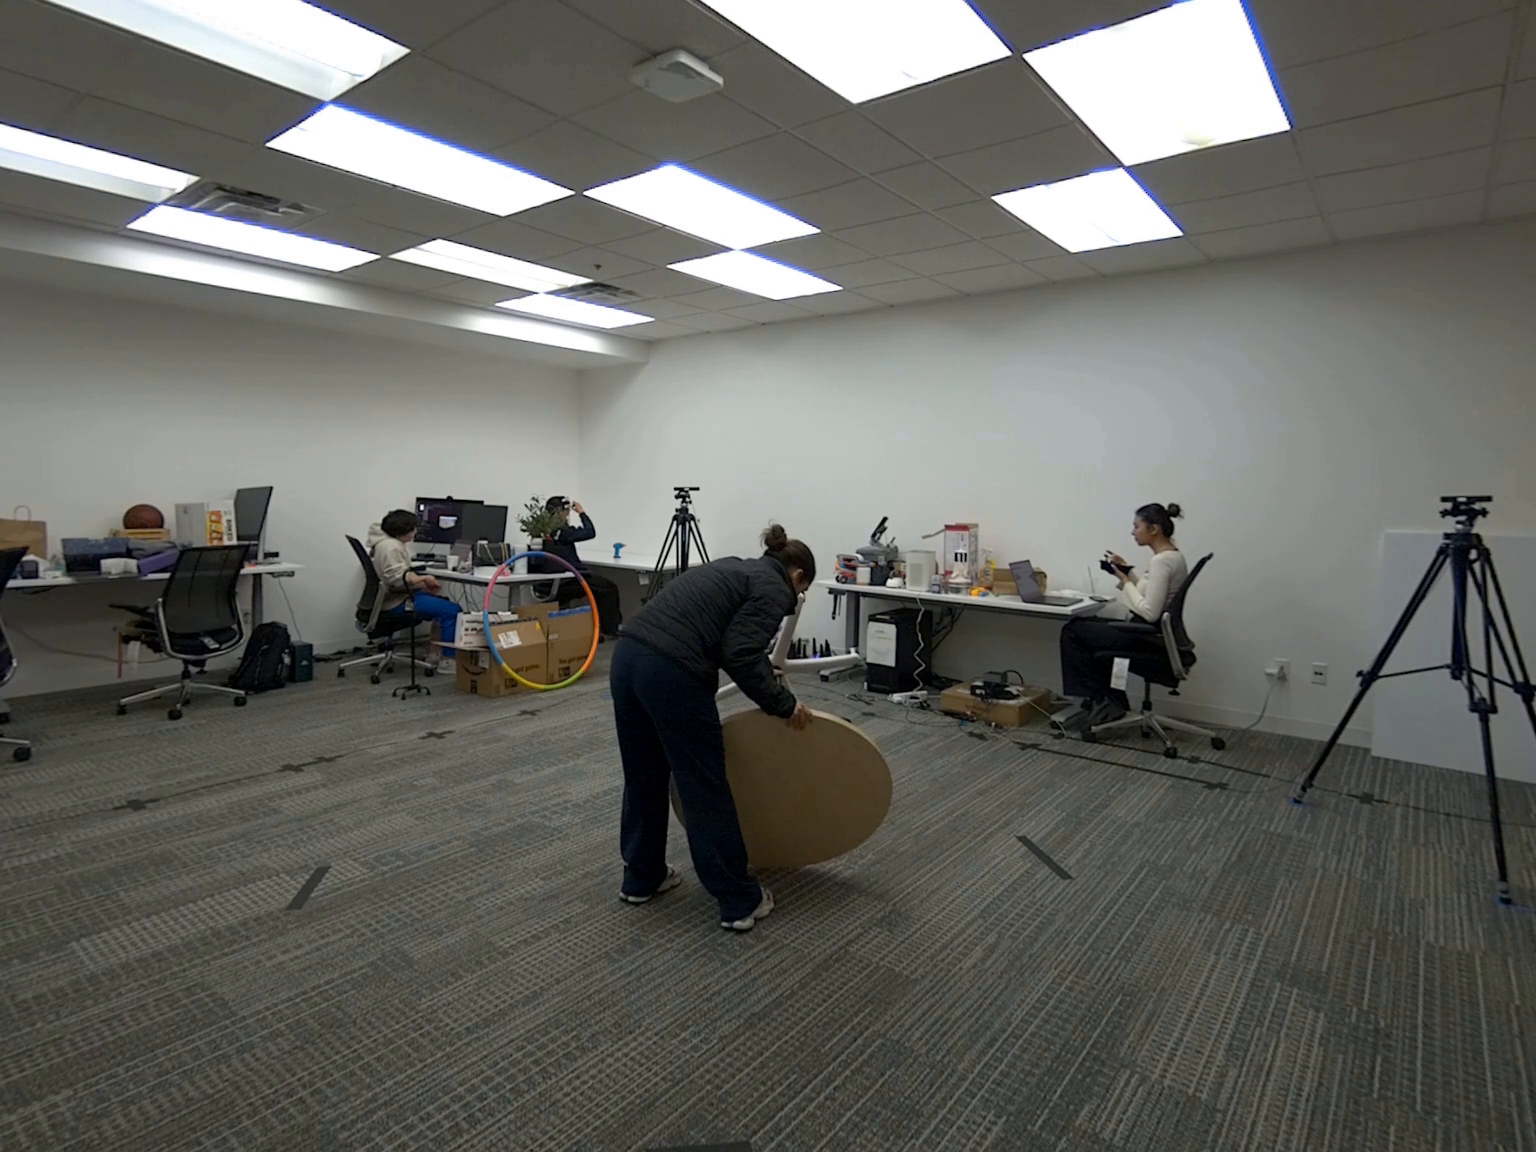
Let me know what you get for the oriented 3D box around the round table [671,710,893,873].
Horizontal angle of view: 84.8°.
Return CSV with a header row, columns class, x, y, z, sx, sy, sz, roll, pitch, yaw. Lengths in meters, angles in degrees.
class,x,y,z,sx,sy,sz,roll,pitch,yaw
round table,0.049,0.524,3.272,0.785,0.765,0.807,1,32,-1
